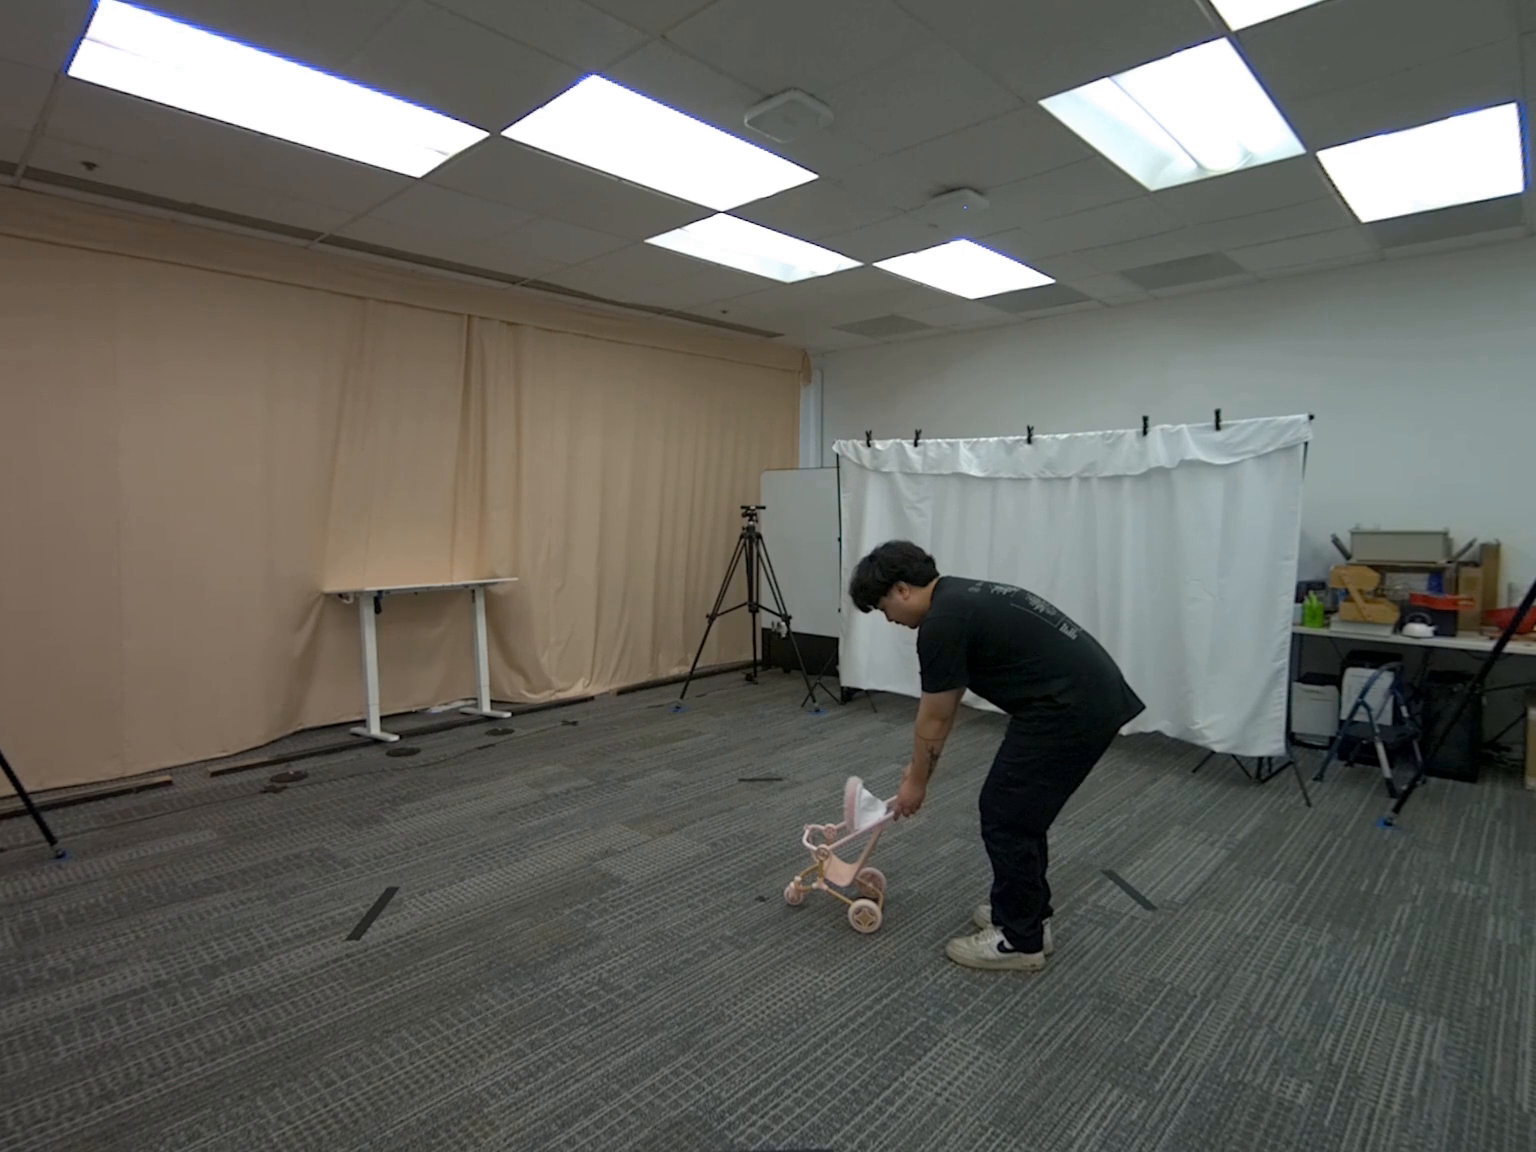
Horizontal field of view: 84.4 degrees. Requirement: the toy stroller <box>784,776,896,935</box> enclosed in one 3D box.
[{"bbox_3d":[0.283,0.927,2.876,0.349,0.533,0.276,17,8,17],"label":"toy stroller"}]
